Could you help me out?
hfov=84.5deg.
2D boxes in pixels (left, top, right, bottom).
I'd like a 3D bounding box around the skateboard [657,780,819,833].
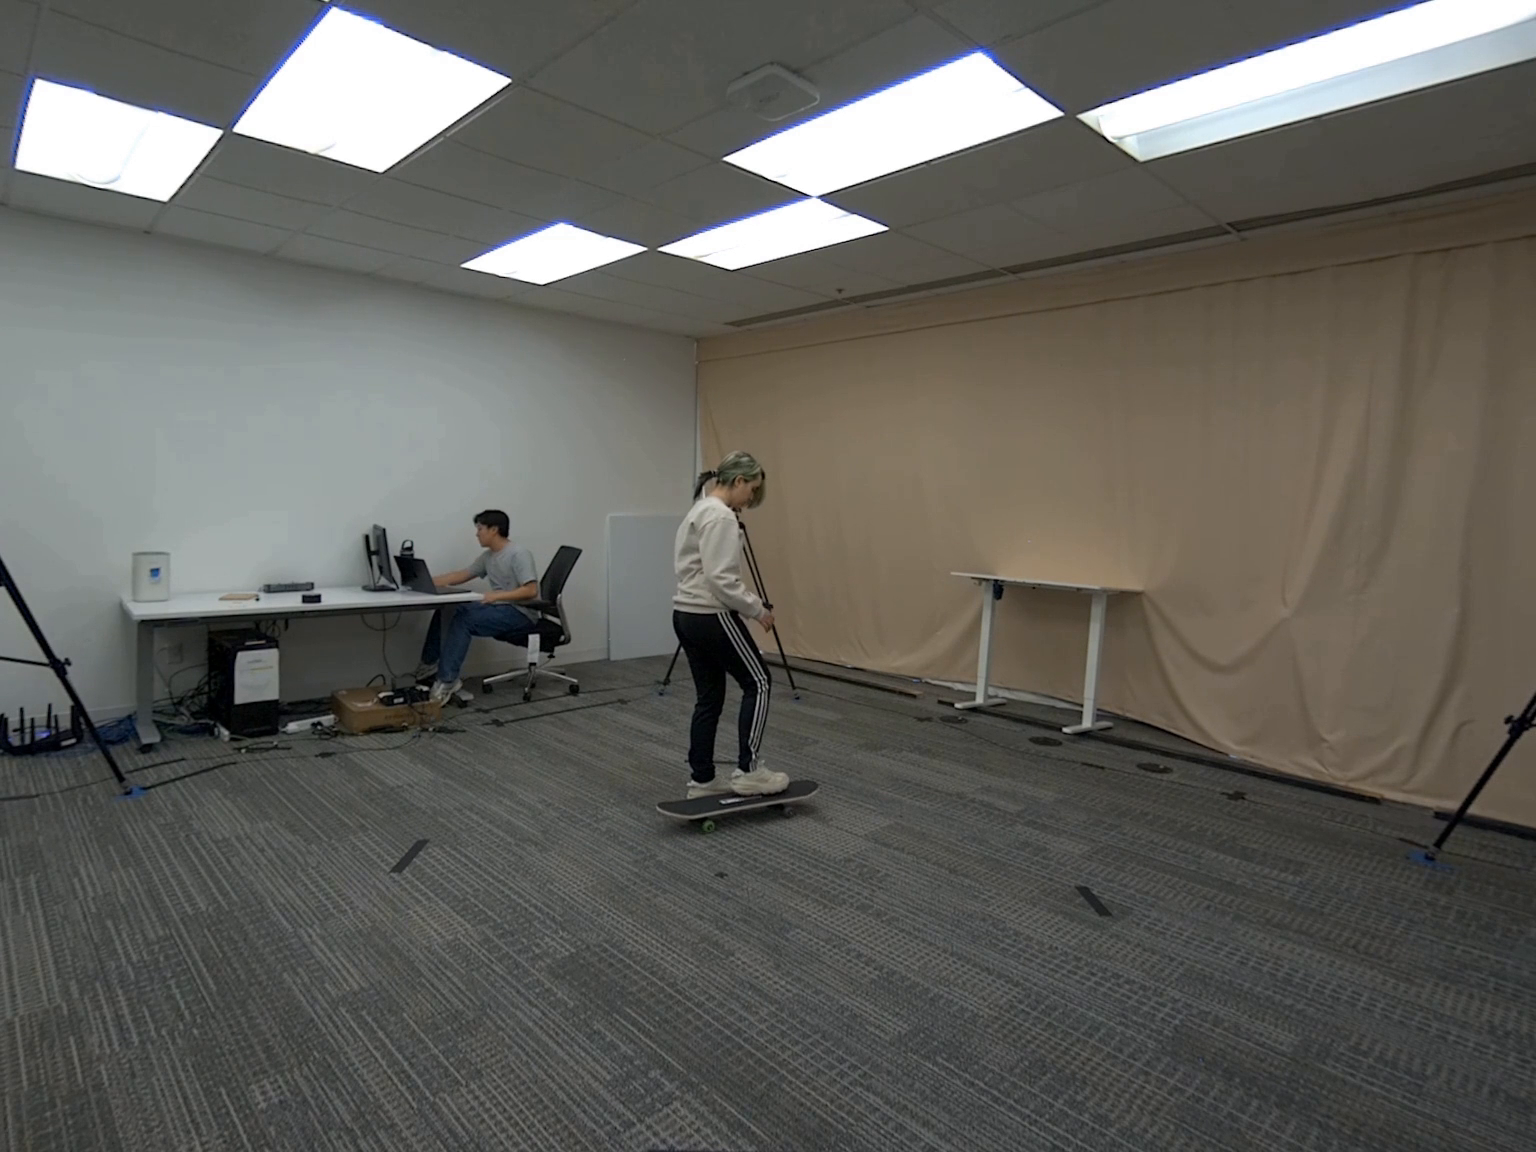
[{"bbox_3d":[-0.135,1.005,3.657,0.770,0.110,0.198,-1,4,-29],"label":"skateboard"}]
